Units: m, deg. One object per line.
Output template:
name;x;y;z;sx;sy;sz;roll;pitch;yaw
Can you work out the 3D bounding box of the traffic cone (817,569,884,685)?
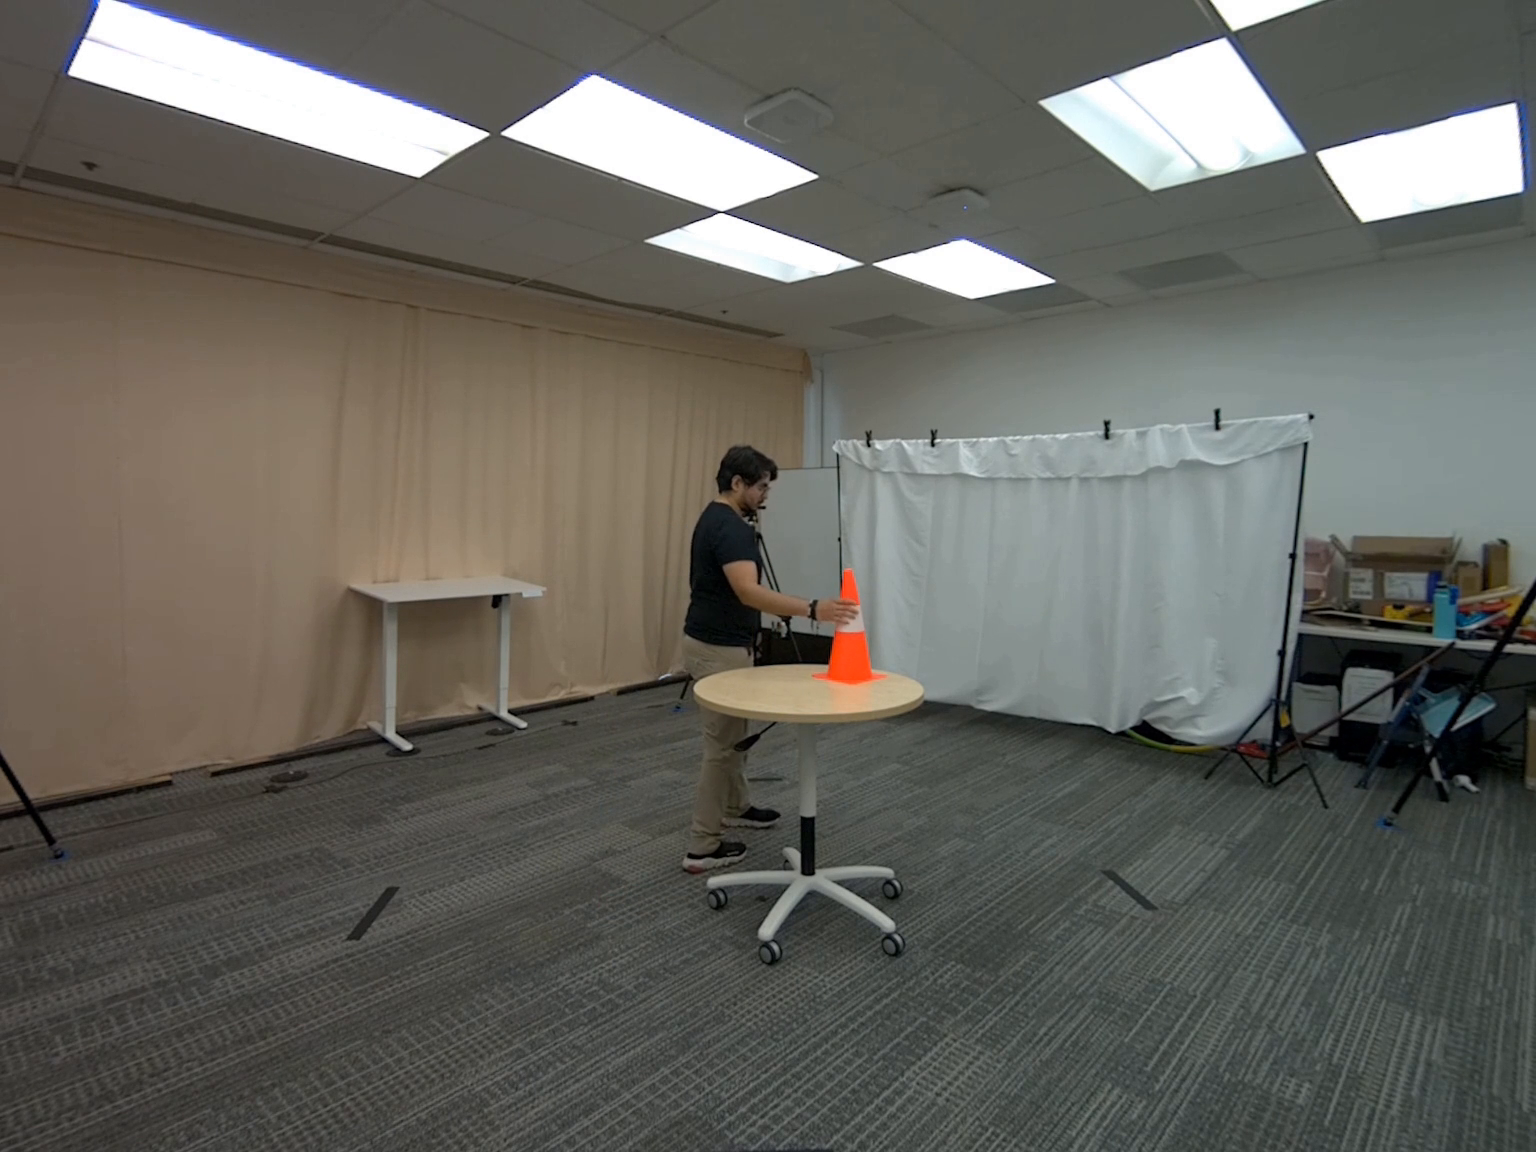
traffic cone;0.289;0.170;2.978;0.211;0.383;0.197;1;4;40
